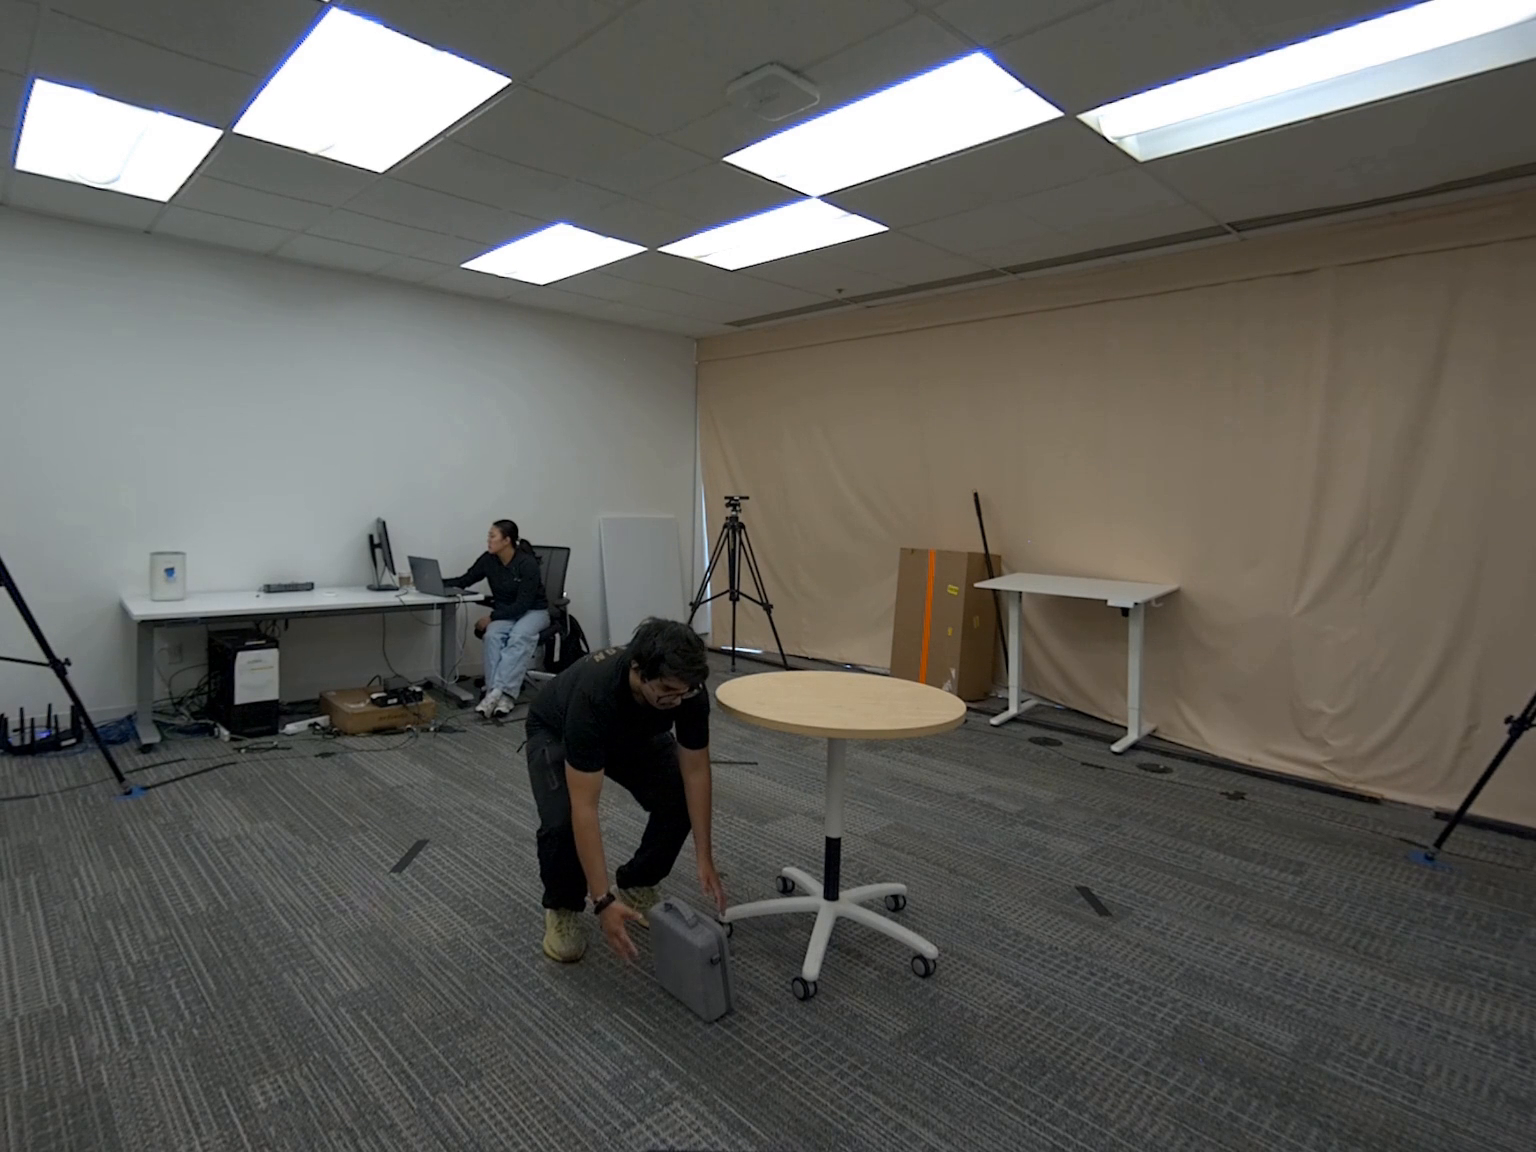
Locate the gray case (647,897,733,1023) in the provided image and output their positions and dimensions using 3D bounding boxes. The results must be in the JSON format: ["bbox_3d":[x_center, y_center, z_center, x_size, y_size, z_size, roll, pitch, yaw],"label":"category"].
[{"bbox_3d":[-0.212,1.043,2.309,0.102,0.258,0.263,-12,13,-37],"label":"gray case"}]
